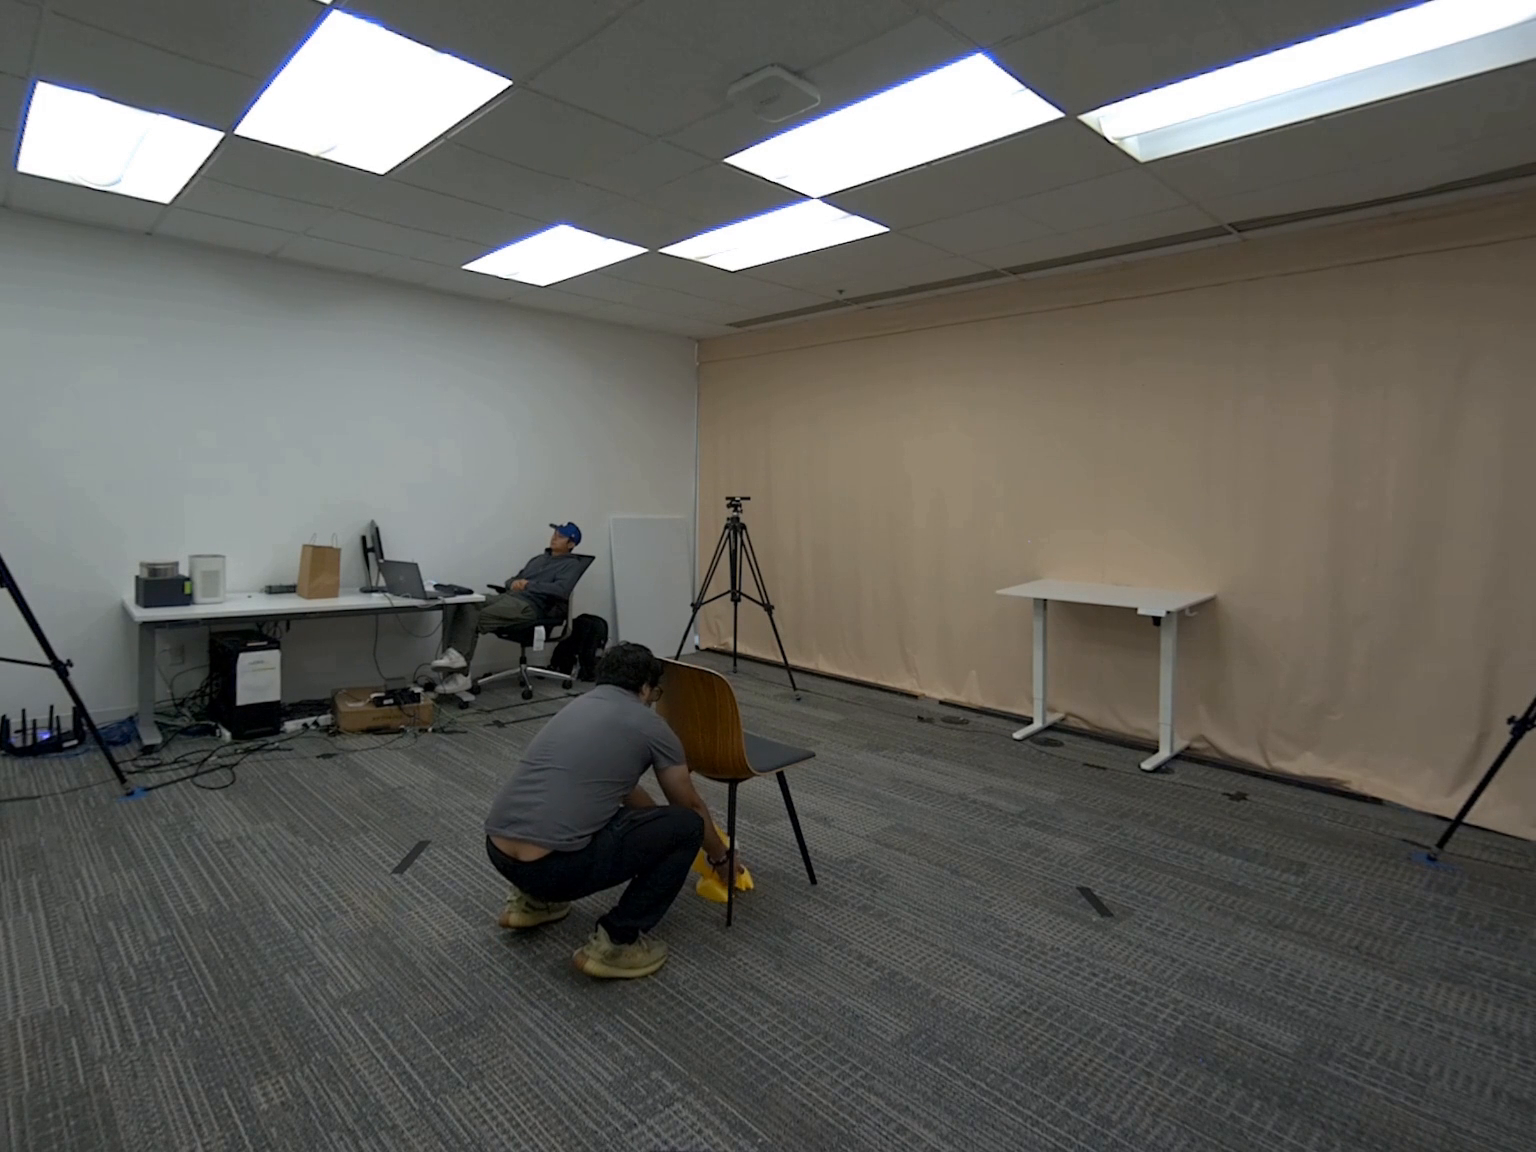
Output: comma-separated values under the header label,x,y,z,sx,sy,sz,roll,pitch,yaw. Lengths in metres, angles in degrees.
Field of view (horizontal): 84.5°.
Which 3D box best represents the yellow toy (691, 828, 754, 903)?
label,x,y,z,sx,sy,sz,roll,pitch,yaw
yellow toy,-0.172,1.004,3.012,0.200,0.230,0.198,-4,3,-44
